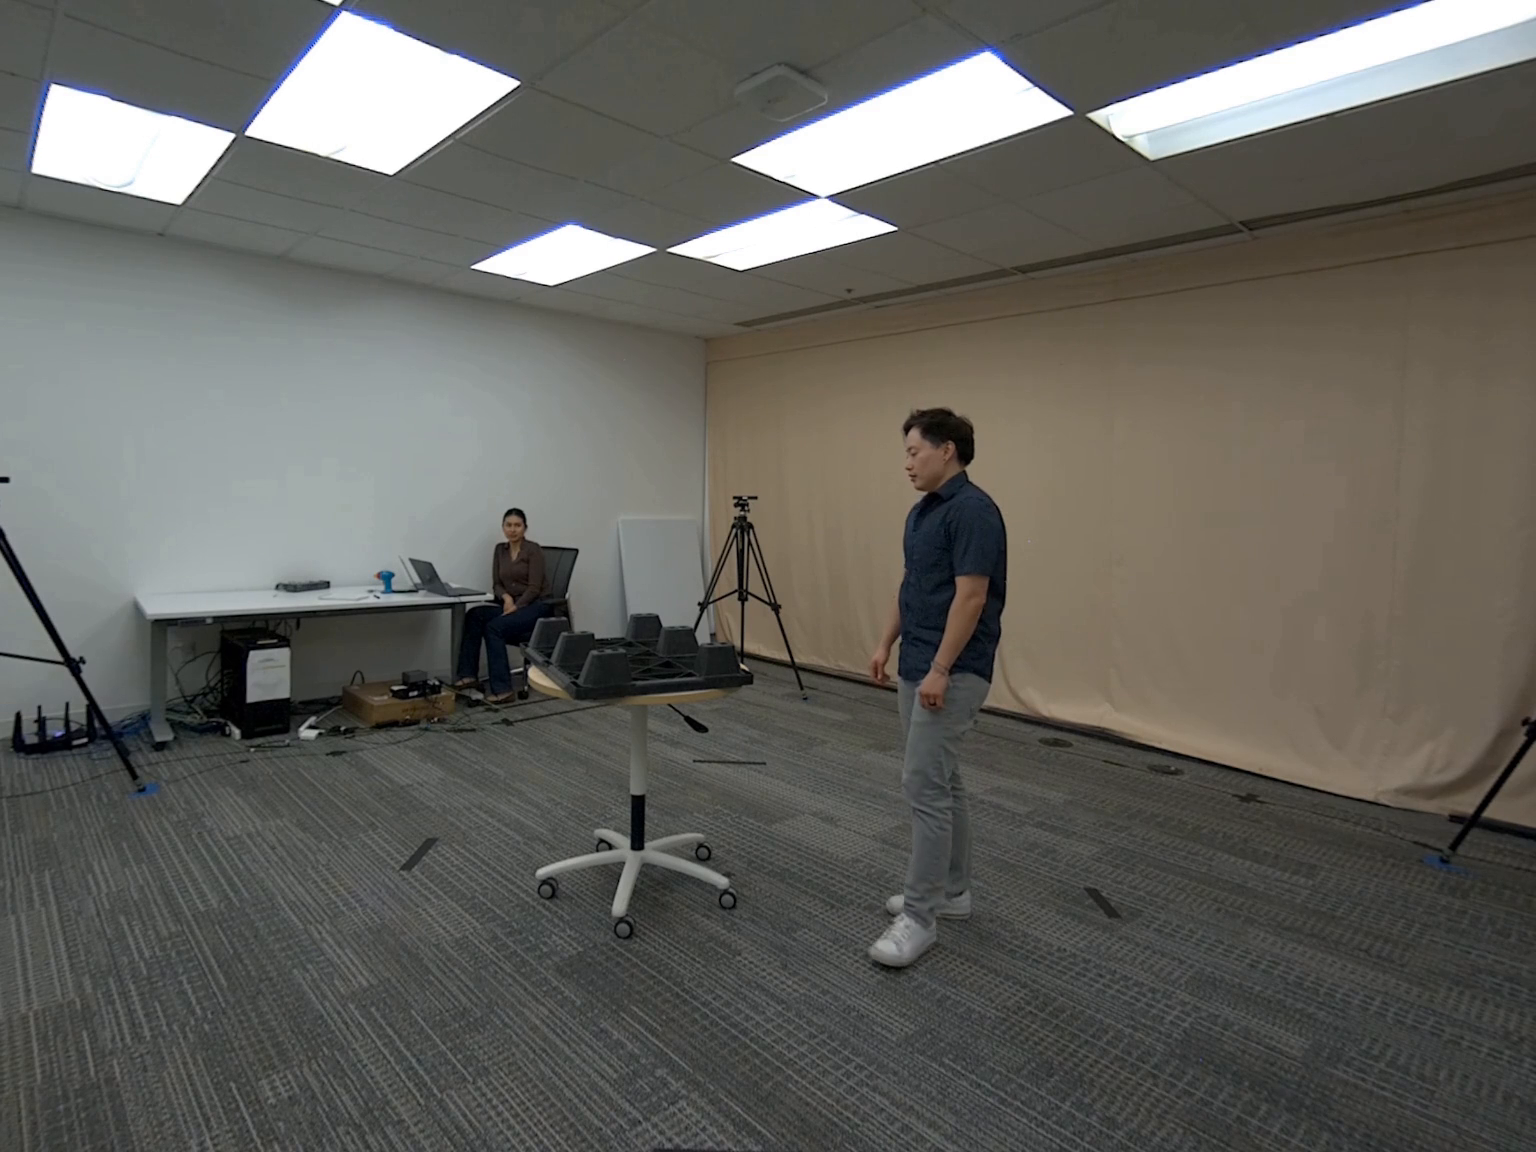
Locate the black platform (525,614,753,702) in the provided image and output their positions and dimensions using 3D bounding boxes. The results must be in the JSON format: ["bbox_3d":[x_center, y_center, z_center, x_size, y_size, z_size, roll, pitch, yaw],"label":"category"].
[{"bbox_3d":[-0.498,0.258,2.962,0.594,0.143,0.823,-1,6,-28],"label":"black platform"}]
